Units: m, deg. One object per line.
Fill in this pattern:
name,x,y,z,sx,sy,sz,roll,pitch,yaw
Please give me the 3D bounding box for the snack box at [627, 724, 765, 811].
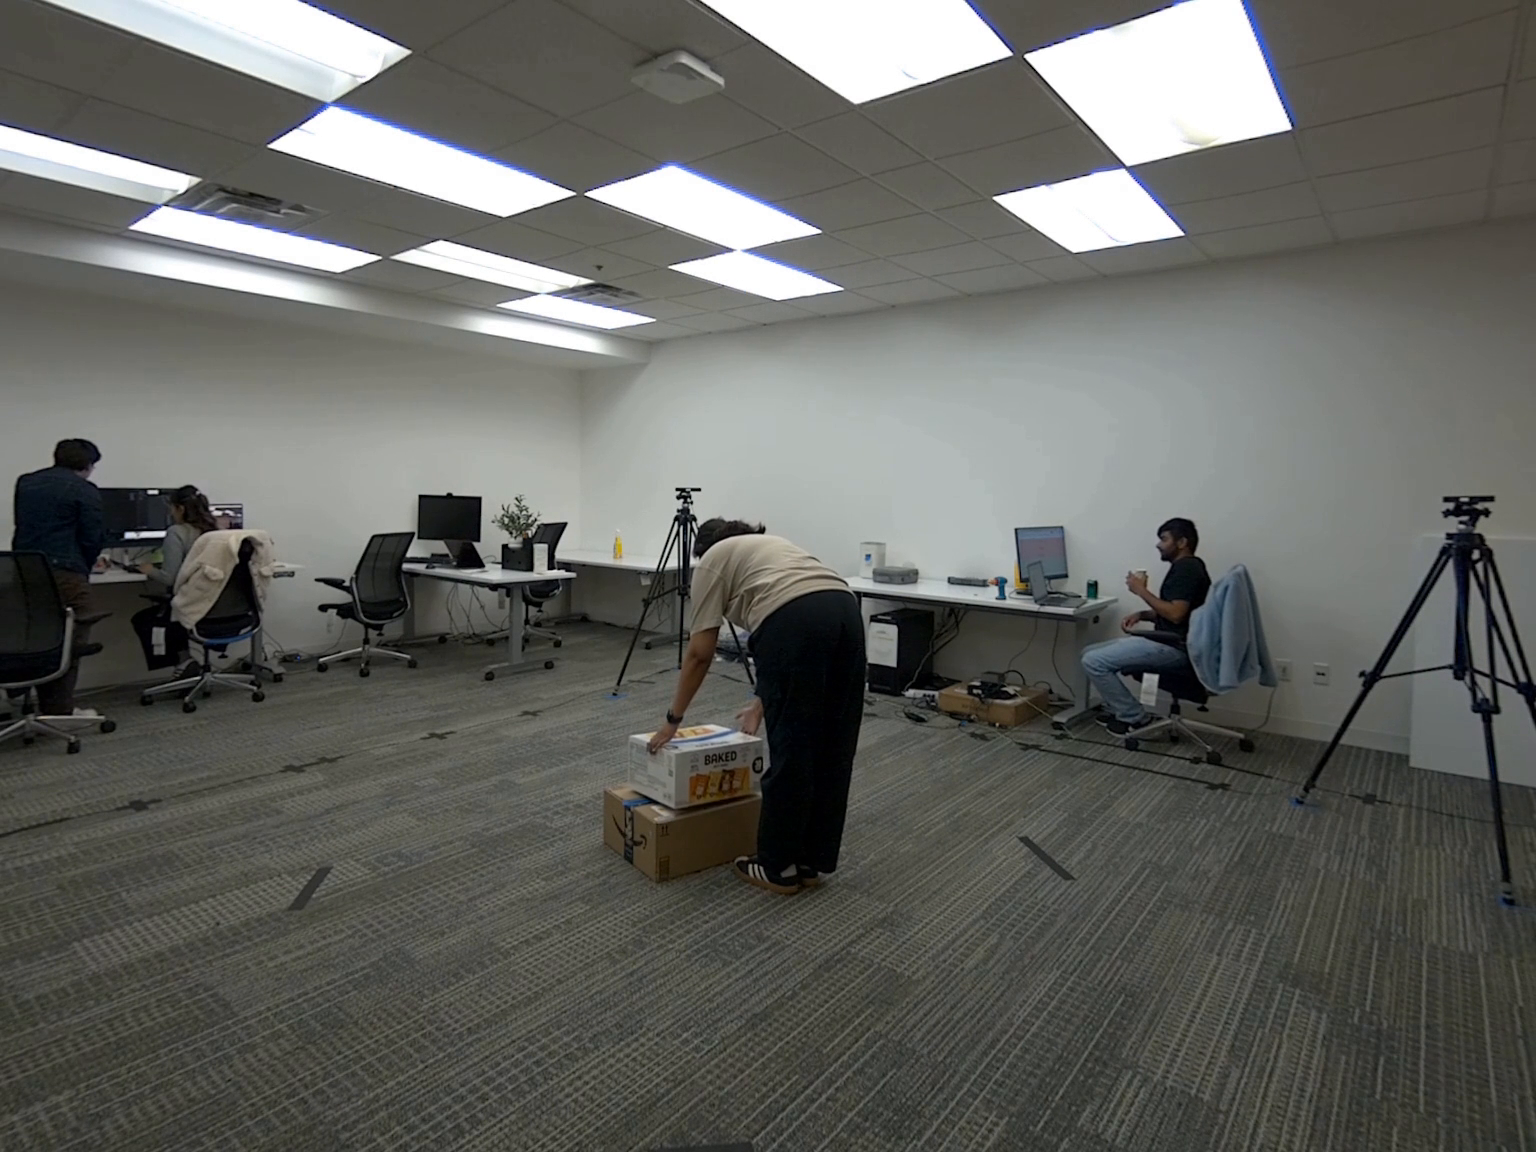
snack box,-0.290,0.723,3.276,0.393,0.206,0.351,0,1,-37
